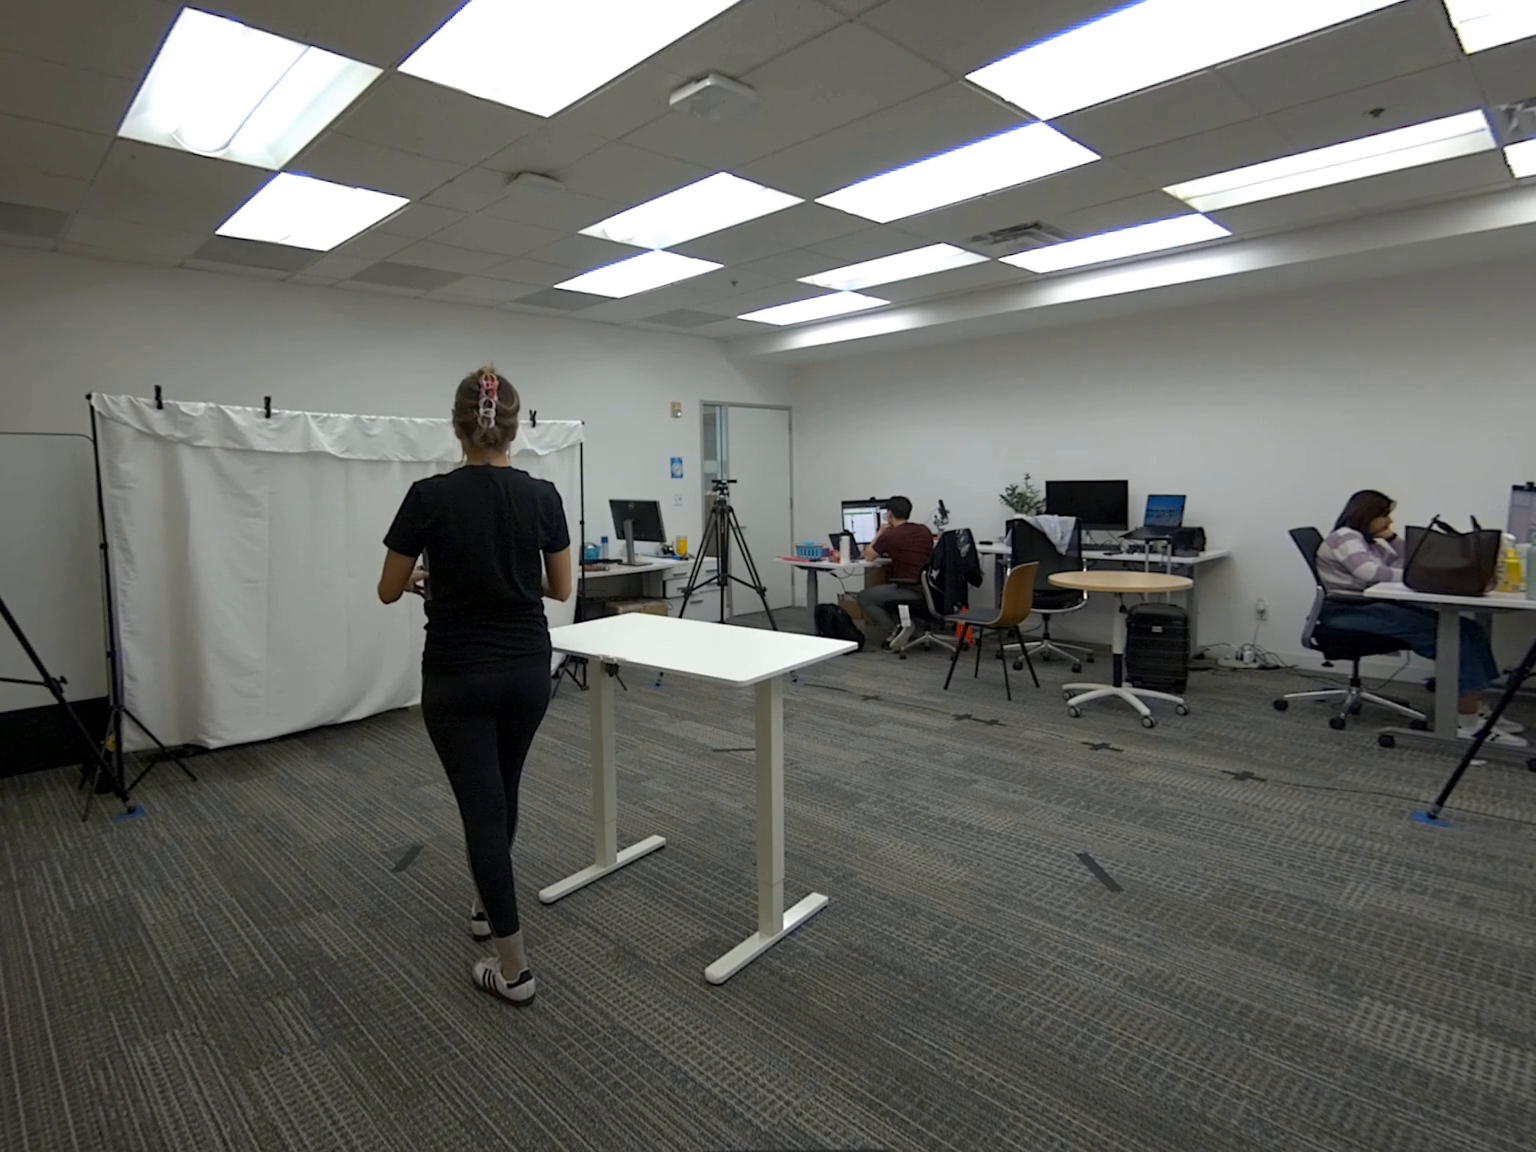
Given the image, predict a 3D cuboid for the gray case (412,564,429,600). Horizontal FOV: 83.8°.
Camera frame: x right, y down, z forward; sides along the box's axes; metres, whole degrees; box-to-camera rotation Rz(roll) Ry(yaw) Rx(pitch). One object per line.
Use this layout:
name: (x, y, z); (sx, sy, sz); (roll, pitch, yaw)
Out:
gray case: (-0.978, -0.024, 2.776); (0.250, 0.260, 0.107); (-4, 5, -33)
